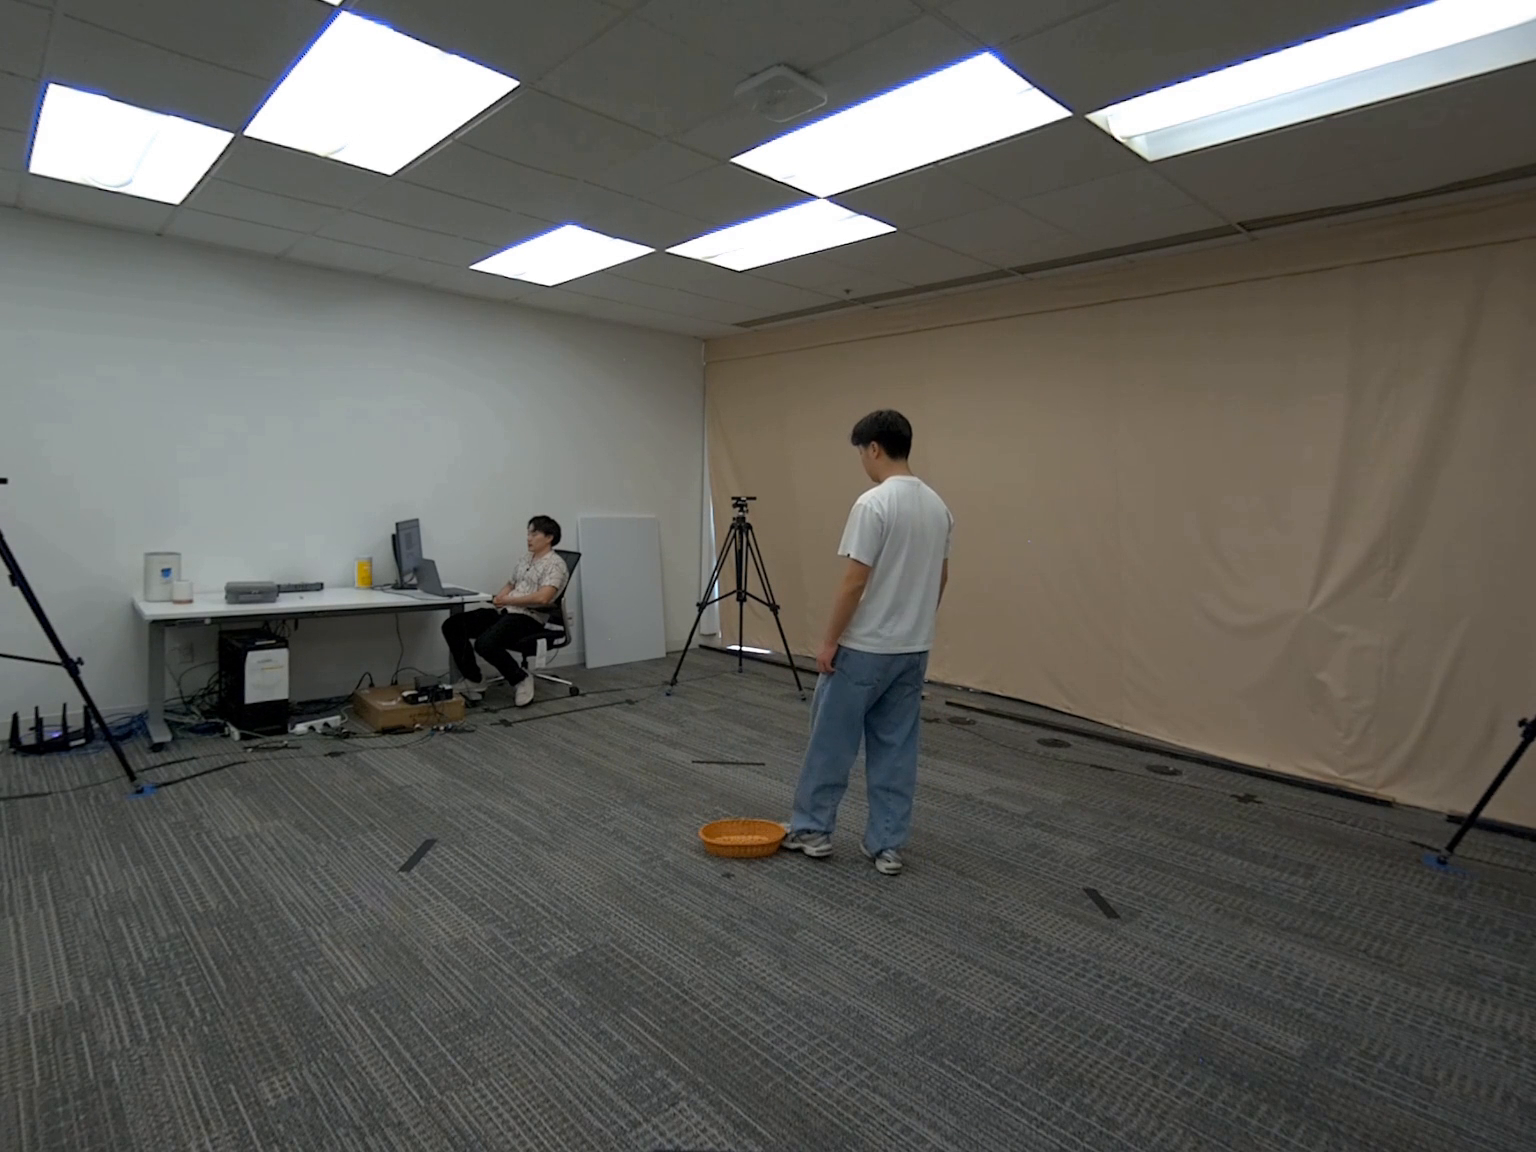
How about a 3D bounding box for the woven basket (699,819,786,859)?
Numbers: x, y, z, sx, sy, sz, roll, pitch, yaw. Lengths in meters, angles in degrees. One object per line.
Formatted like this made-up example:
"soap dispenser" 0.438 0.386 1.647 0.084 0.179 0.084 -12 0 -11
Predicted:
"woven basket" -0.111 1.039 3.337 0.351 0.073 0.253 0 5 1
